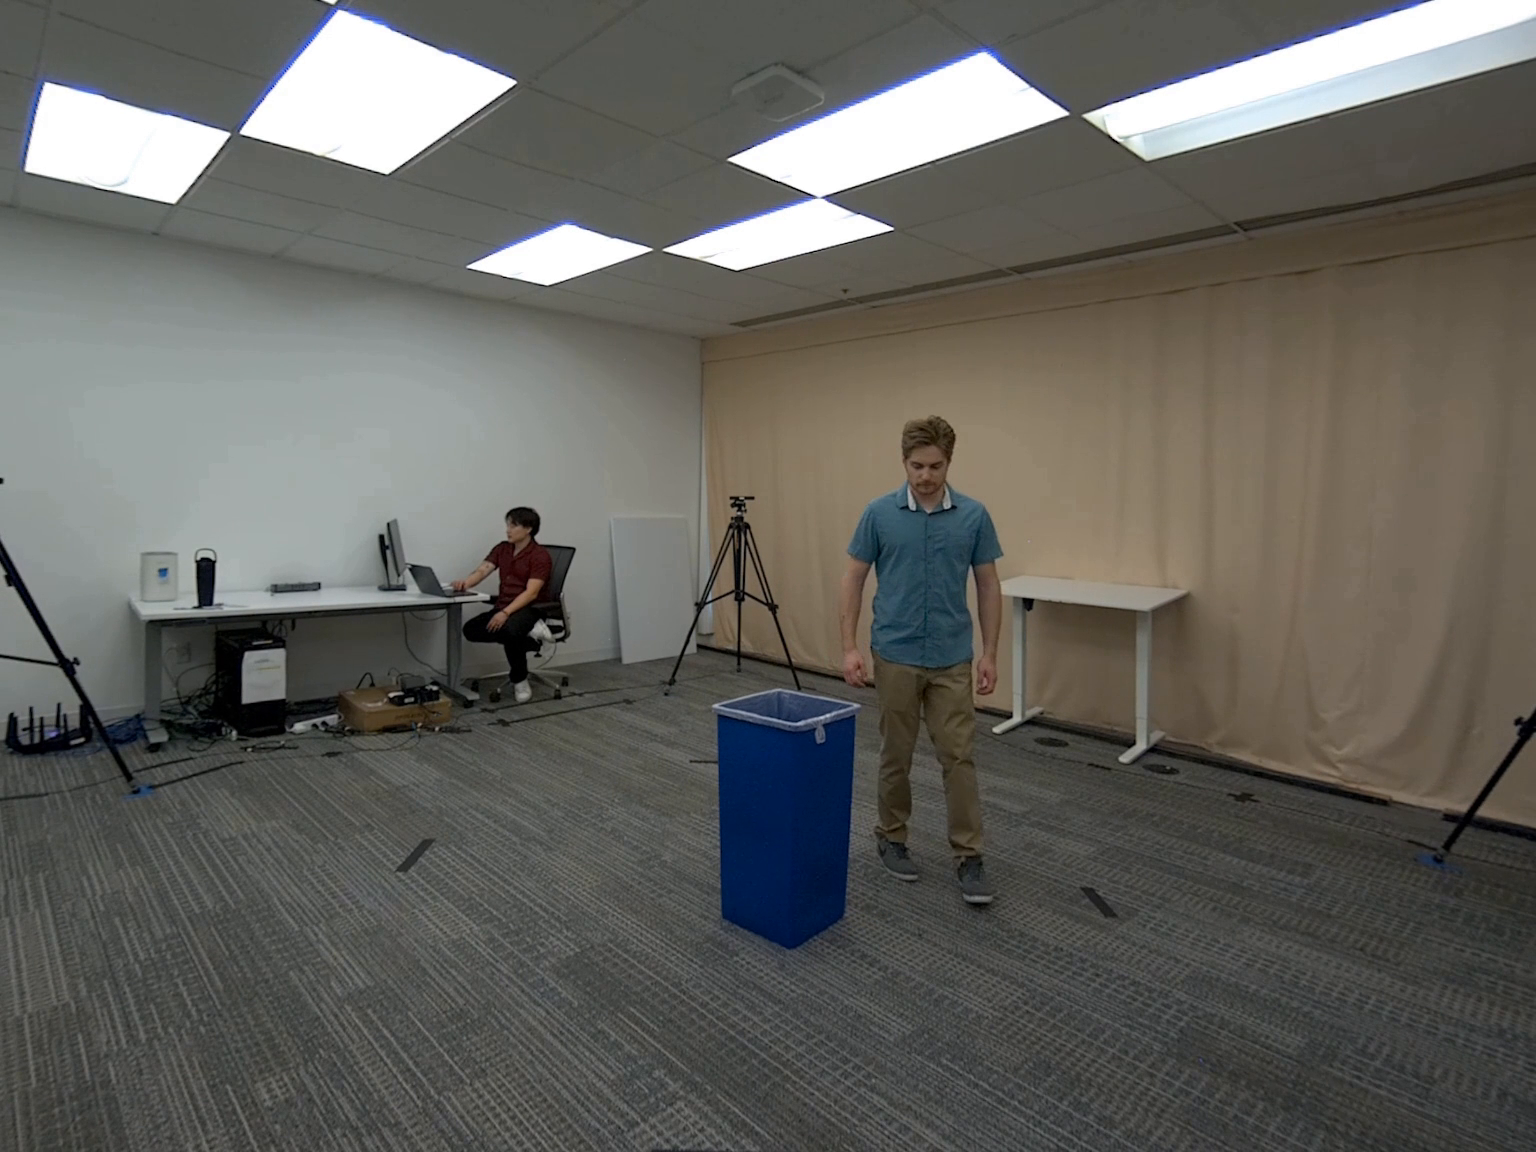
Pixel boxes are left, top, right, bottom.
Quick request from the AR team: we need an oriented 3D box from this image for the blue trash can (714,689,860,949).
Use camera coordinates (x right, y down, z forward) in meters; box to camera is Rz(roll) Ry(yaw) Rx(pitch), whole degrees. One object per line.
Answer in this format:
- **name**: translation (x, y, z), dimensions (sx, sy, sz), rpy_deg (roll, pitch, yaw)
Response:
- **blue trash can**: translation (0.041, 0.780, 2.788), dimensions (0.383, 0.712, 0.369), rpy_deg (4, 4, 40)
